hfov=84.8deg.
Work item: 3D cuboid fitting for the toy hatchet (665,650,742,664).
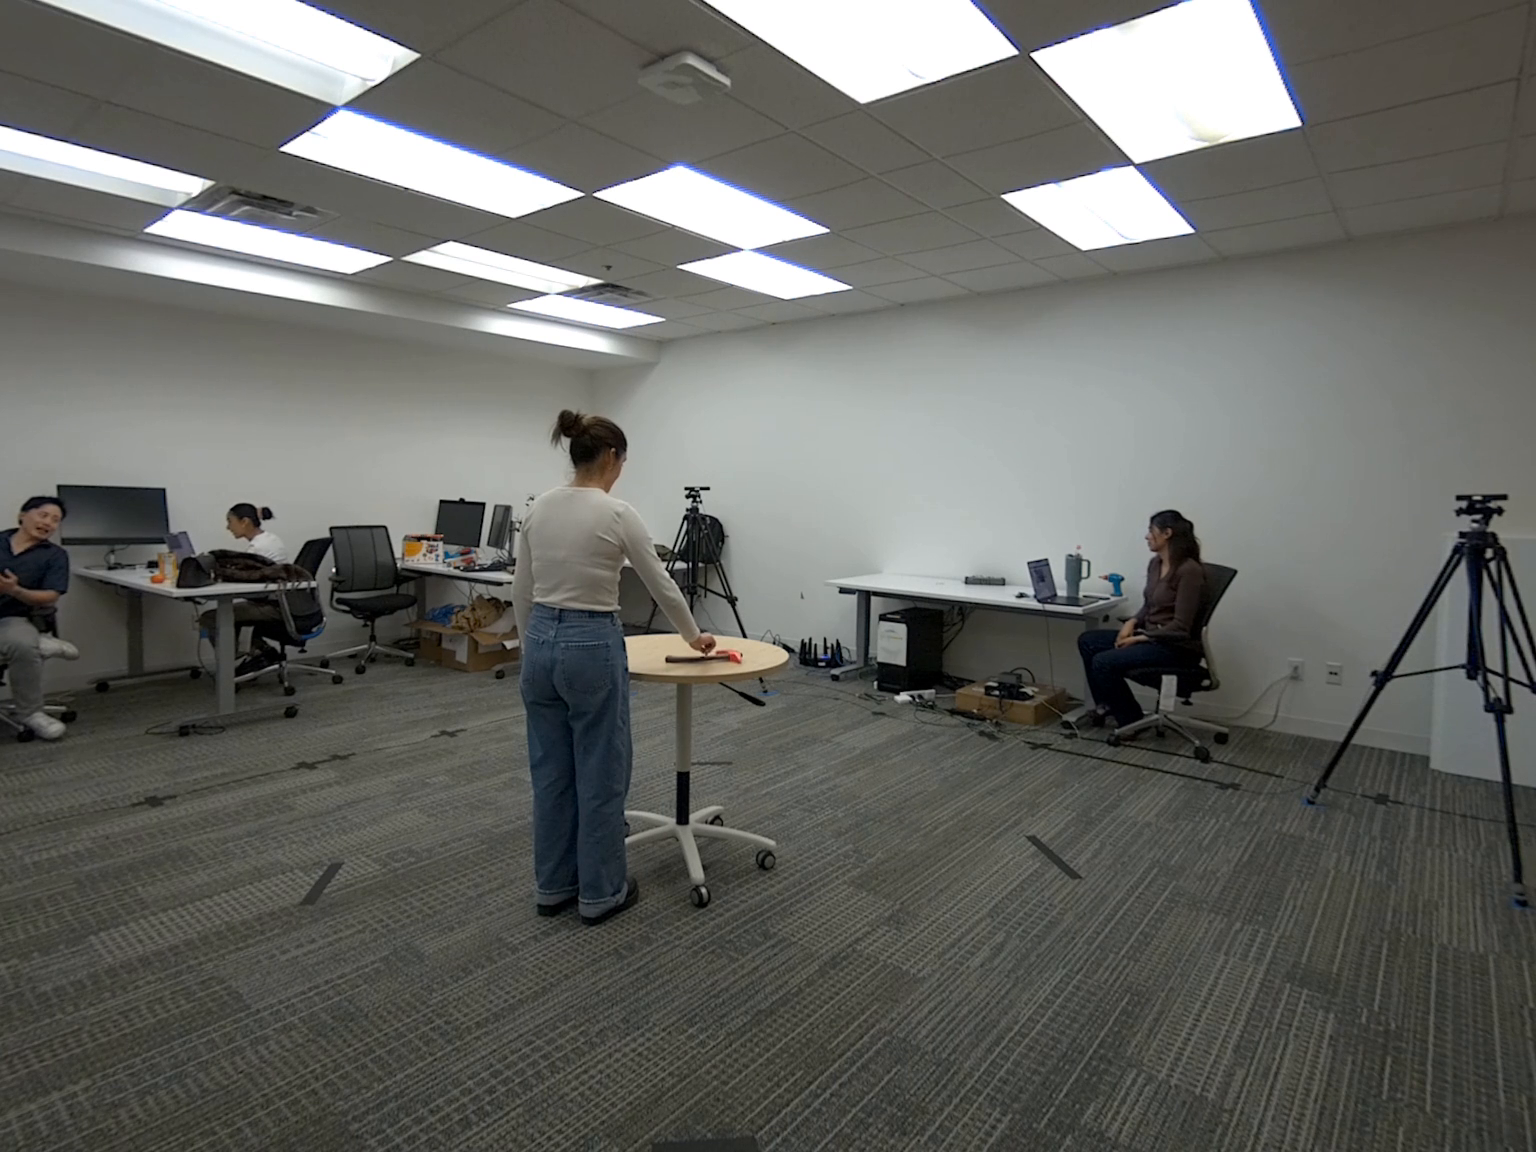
[{"bbox_3d":[-0.237,0.279,3.007,0.270,0.029,0.132,0,11,-1],"label":"toy hatchet"}]
